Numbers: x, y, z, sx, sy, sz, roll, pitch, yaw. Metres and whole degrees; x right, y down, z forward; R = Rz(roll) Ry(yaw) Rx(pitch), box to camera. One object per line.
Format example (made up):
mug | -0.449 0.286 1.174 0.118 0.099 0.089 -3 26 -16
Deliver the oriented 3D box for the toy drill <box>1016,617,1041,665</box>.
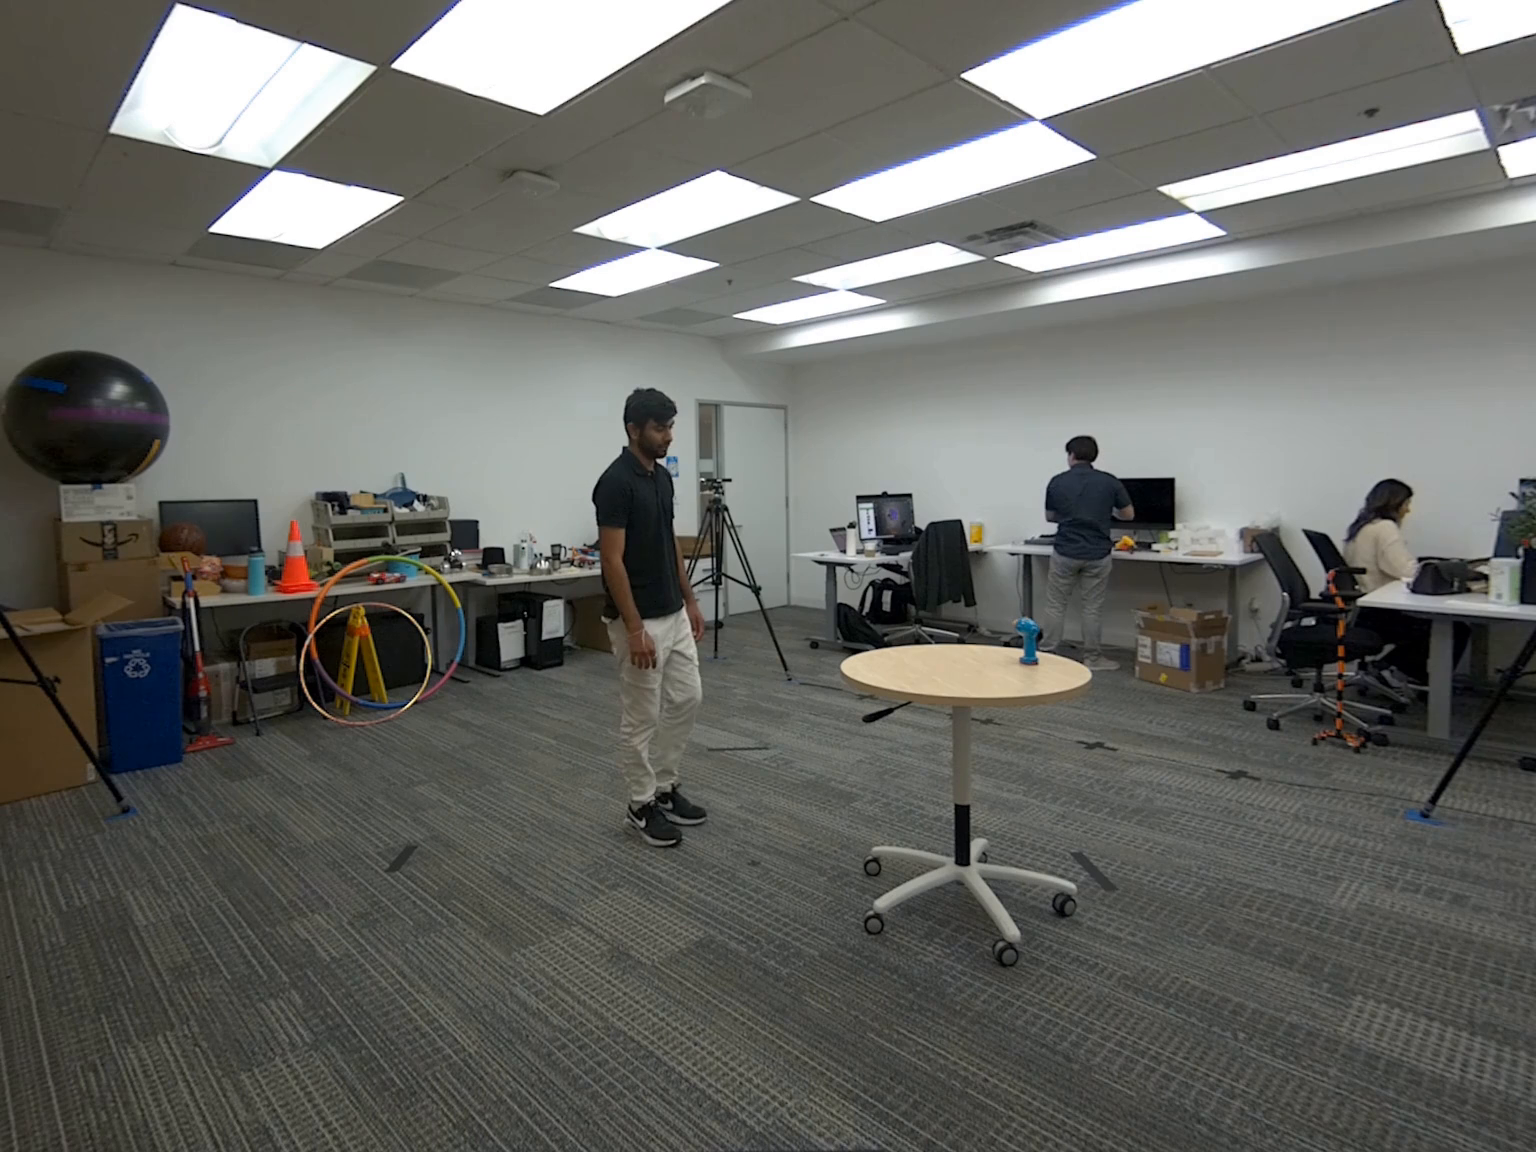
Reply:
toy drill | 0.854 0.206 2.796 0.061 0.145 0.171 -3 5 -4
